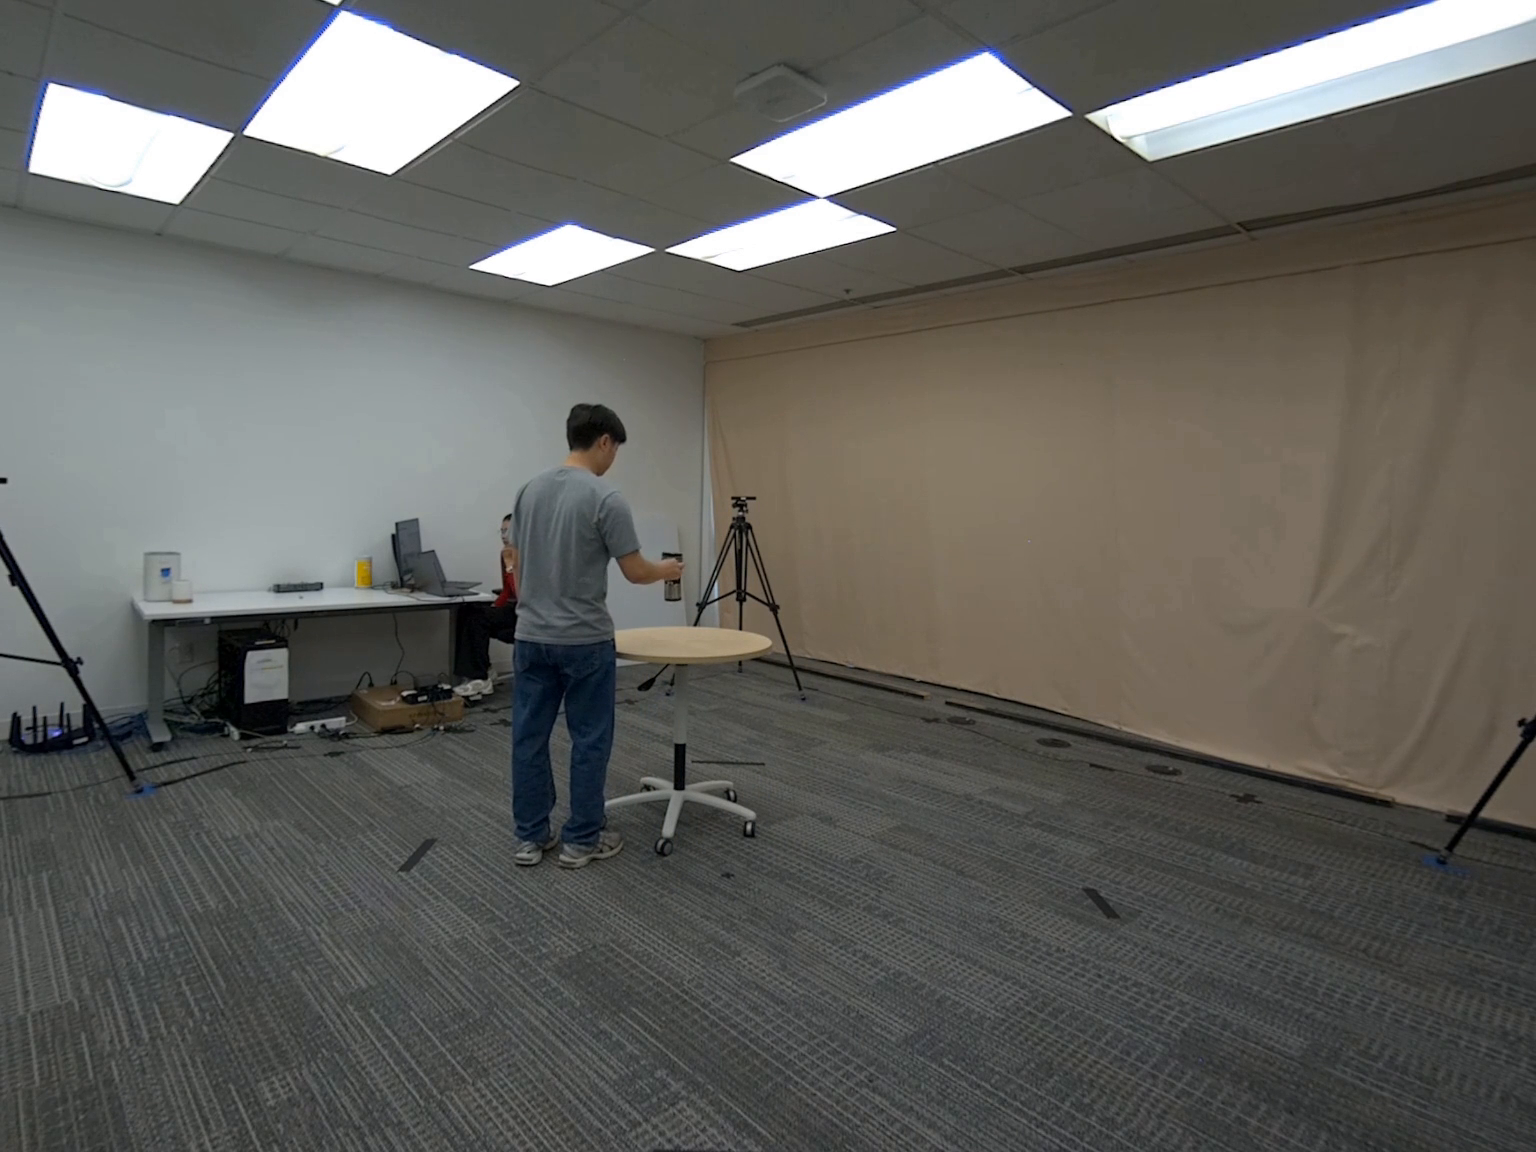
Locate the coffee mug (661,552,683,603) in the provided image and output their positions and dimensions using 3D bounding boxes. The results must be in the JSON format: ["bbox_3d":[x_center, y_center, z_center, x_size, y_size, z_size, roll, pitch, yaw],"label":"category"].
[{"bbox_3d":[-0.432,0.012,3.517,0.090,0.202,0.119,8,5,42],"label":"coffee mug"}]
